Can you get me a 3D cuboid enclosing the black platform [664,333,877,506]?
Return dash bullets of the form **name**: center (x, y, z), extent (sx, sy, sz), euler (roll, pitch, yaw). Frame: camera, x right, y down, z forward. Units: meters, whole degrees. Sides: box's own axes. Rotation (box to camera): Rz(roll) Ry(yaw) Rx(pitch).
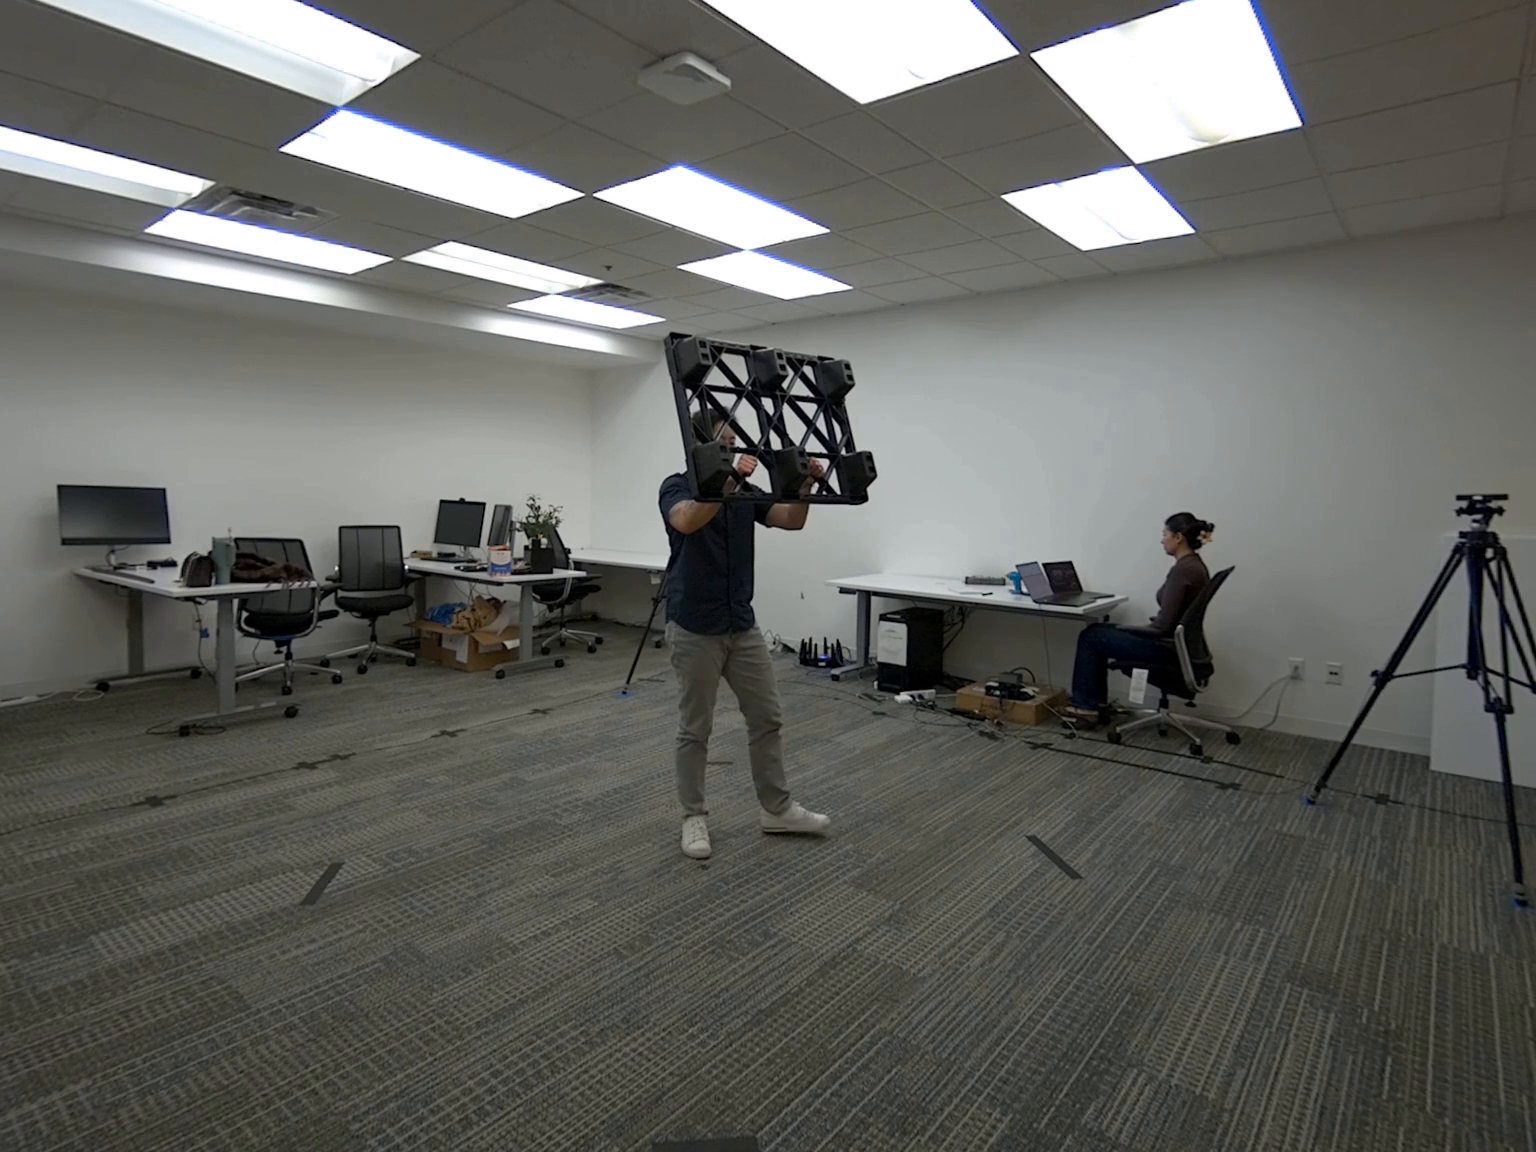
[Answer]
- **black platform**: center (0.034, -0.564, 3.013), extent (0.782, 0.613, 0.145), euler (-3, -14, -38)
